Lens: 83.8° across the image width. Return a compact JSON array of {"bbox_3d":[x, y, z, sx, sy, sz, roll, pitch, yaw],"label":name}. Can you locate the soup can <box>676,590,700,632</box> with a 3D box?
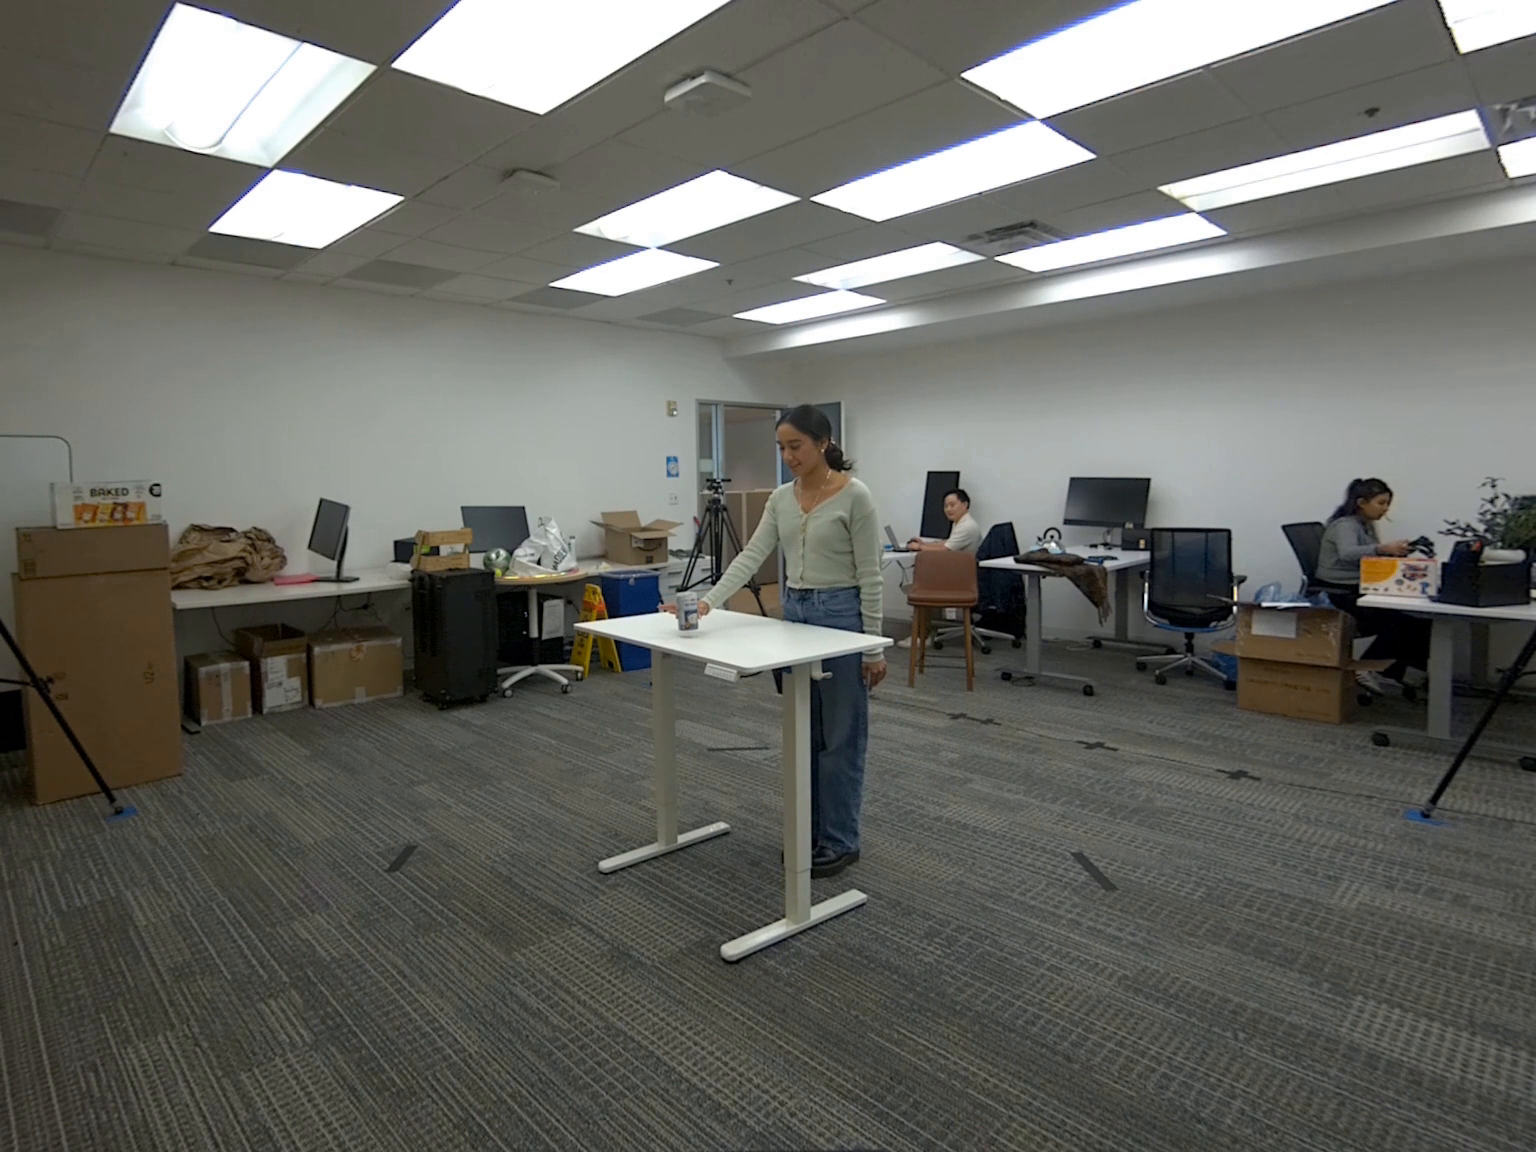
[{"bbox_3d":[-0.261,0.114,2.789,0.067,0.121,0.067,0,5,-2],"label":"soup can"}]
